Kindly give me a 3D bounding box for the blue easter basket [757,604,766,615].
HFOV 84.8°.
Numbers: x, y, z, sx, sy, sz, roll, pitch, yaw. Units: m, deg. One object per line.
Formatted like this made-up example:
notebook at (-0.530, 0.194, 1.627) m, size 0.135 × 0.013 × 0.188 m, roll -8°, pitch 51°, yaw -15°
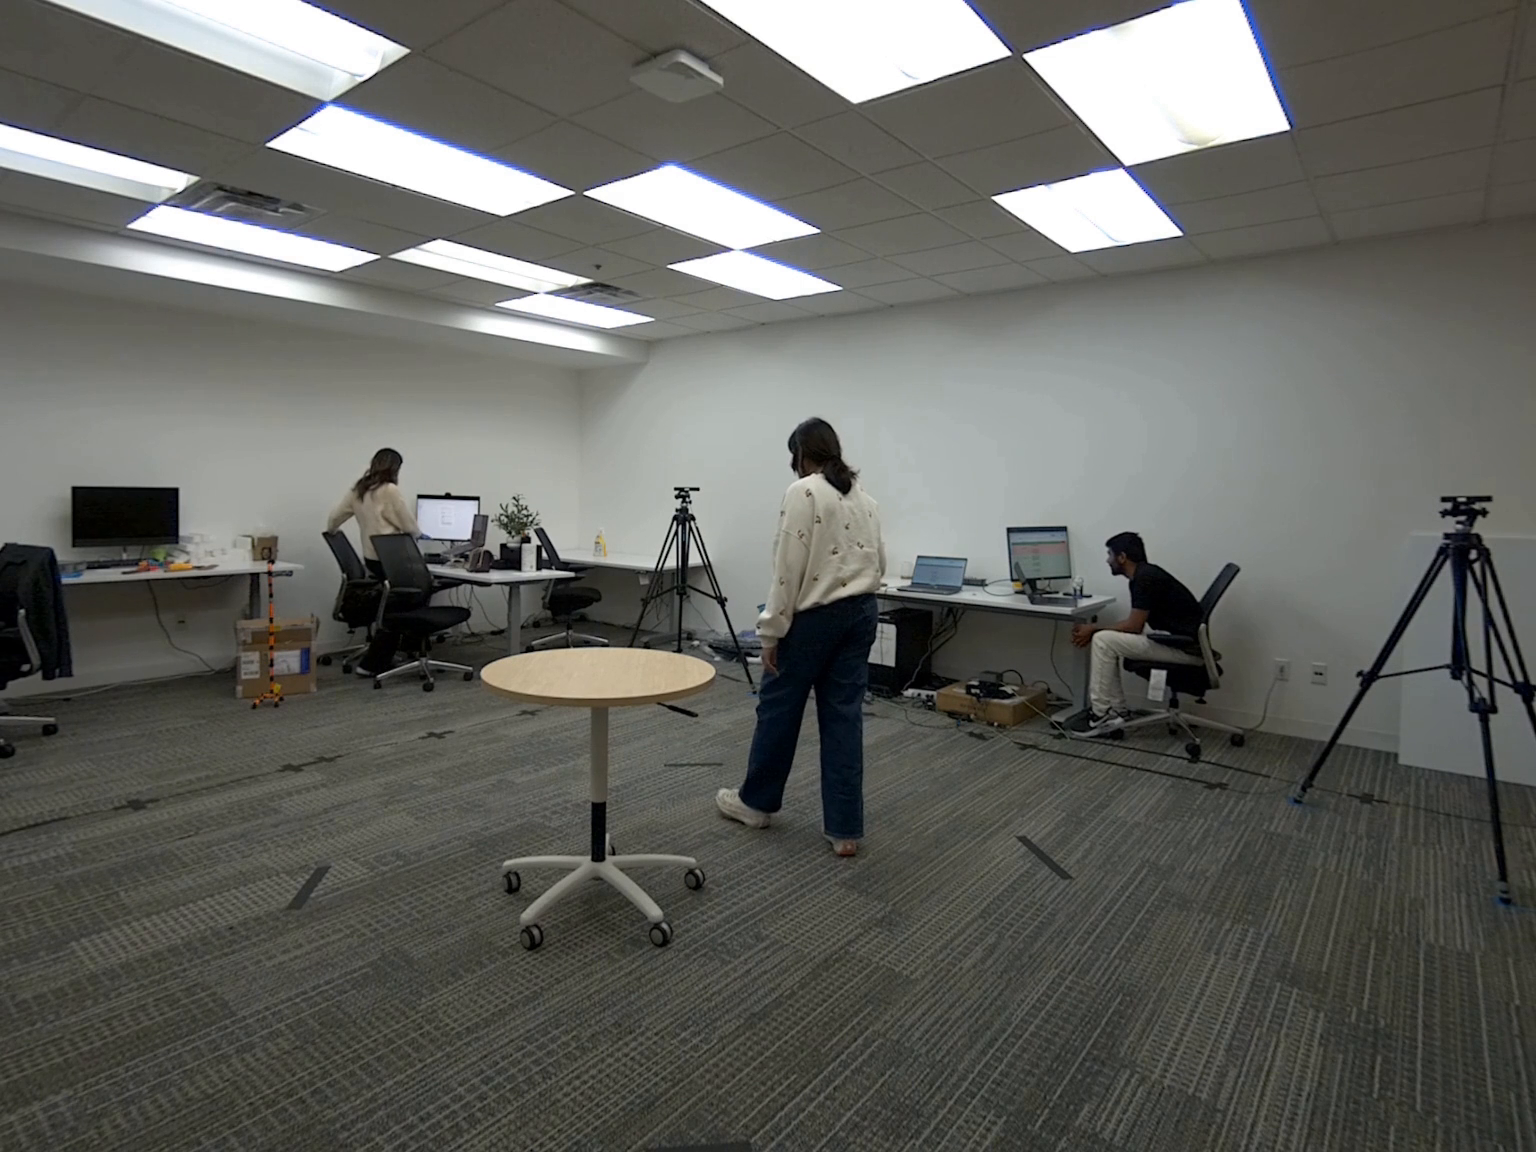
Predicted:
blue easter basket at (0.065, 0.185, 3.683) m, size 0.243 × 0.157 × 0.241 m, roll -4°, pitch -9°, yaw -2°
